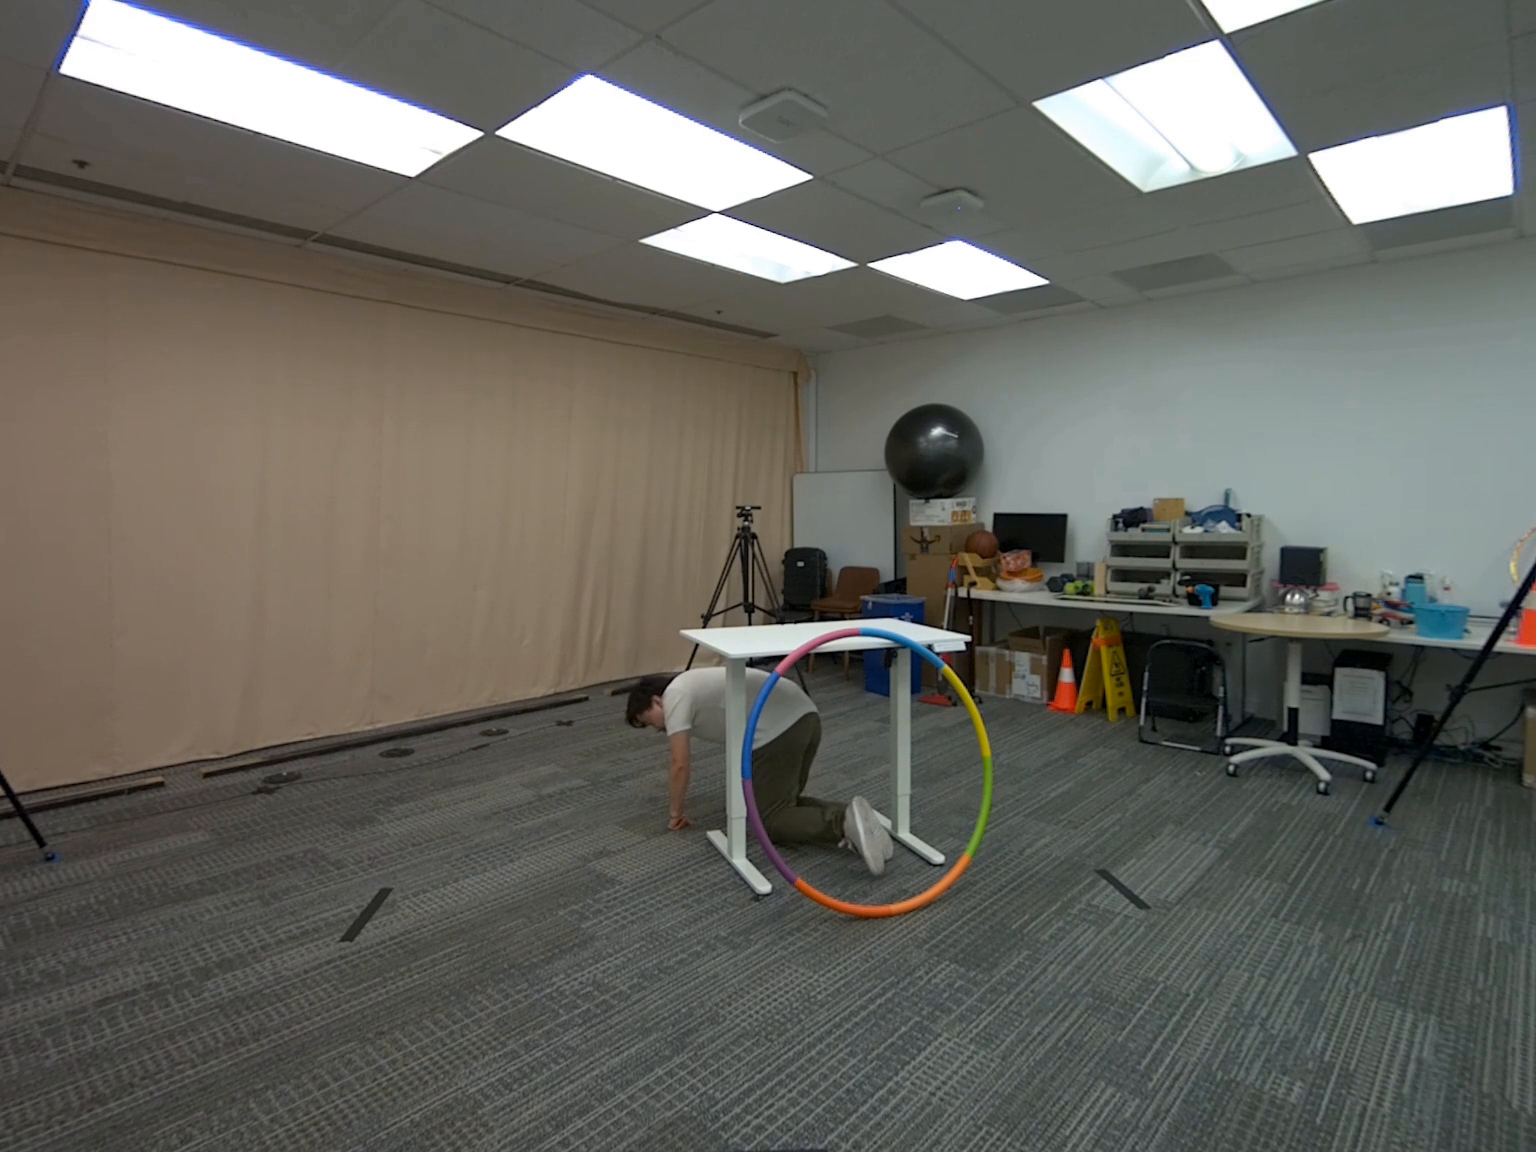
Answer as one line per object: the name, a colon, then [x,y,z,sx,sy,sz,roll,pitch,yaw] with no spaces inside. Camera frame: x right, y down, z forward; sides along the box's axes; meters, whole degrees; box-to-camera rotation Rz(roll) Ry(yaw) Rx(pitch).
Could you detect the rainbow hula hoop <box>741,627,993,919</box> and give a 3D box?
rainbow hula hoop: [0.383,0.677,2.966,0.959,0.988,0.036,-2,-13,-20]
